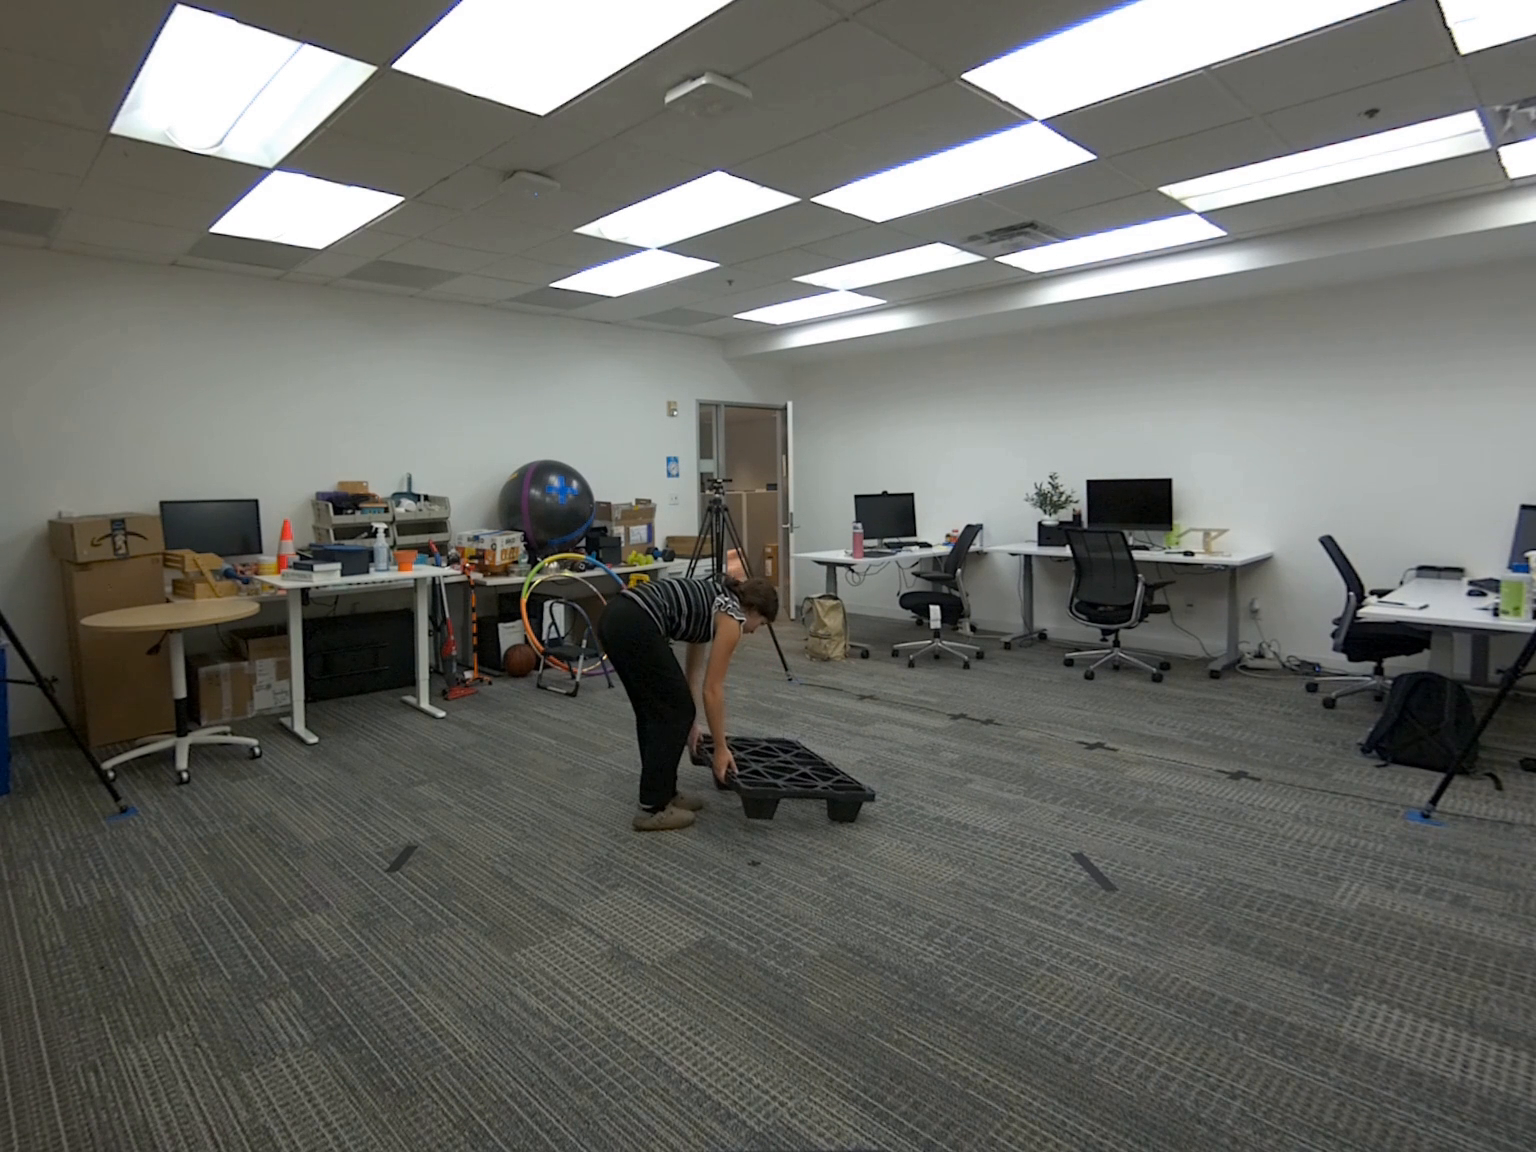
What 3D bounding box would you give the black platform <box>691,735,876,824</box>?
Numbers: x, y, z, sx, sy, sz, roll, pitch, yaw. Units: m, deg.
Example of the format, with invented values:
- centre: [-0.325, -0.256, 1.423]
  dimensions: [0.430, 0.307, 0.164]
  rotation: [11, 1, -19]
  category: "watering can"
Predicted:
- centre: [0.002, 0.873, 3.725]
  dimensions: [0.592, 0.143, 0.824]
  rotation: [7, 2, -22]
  category: "black platform"
